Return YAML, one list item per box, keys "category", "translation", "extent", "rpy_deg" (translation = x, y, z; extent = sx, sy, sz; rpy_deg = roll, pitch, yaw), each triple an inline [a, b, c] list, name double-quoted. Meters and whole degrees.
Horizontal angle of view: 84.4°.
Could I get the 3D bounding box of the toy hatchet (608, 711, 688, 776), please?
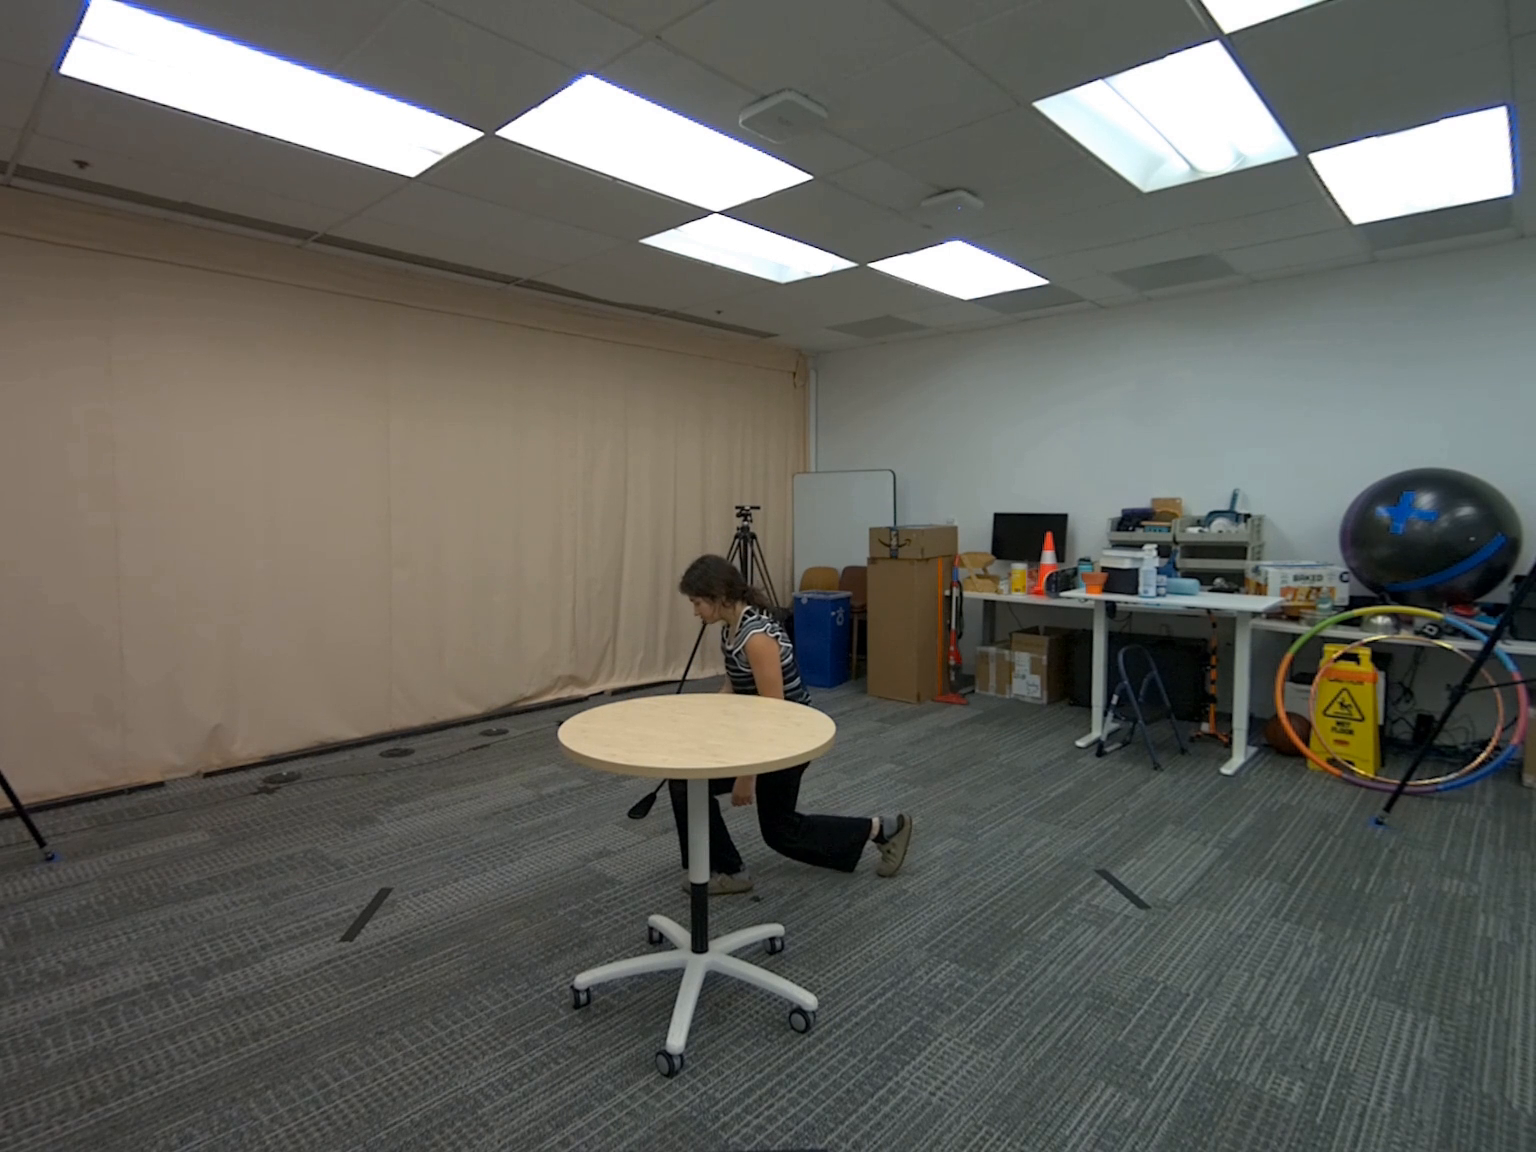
- category: "toy hatchet"
  translation: [-0.459, 0.635, 3.230]
  extent: [0.271, 0.131, 0.029]
  rpy_deg: [26, -9, 2]
